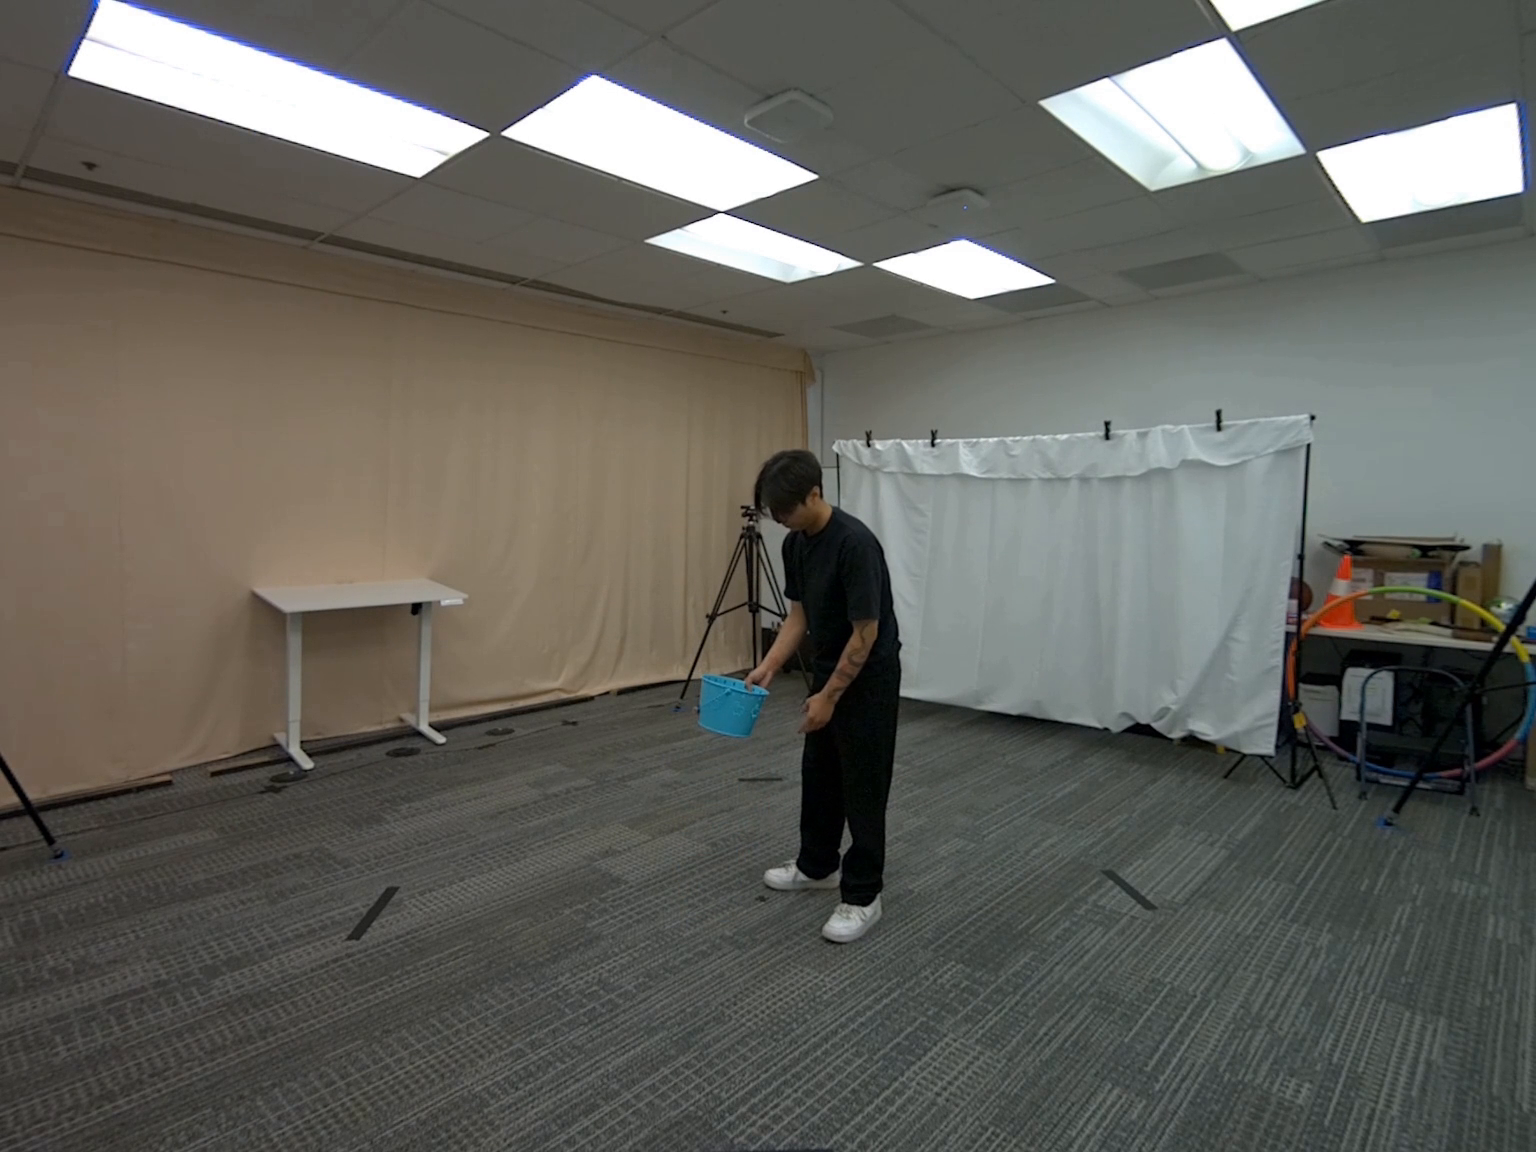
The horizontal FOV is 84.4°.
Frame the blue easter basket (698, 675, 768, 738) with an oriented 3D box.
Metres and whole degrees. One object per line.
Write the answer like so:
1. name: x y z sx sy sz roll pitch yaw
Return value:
1. blue easter basket: -0.123 0.437 2.793 0.243 0.156 0.244 12 -1 -2
